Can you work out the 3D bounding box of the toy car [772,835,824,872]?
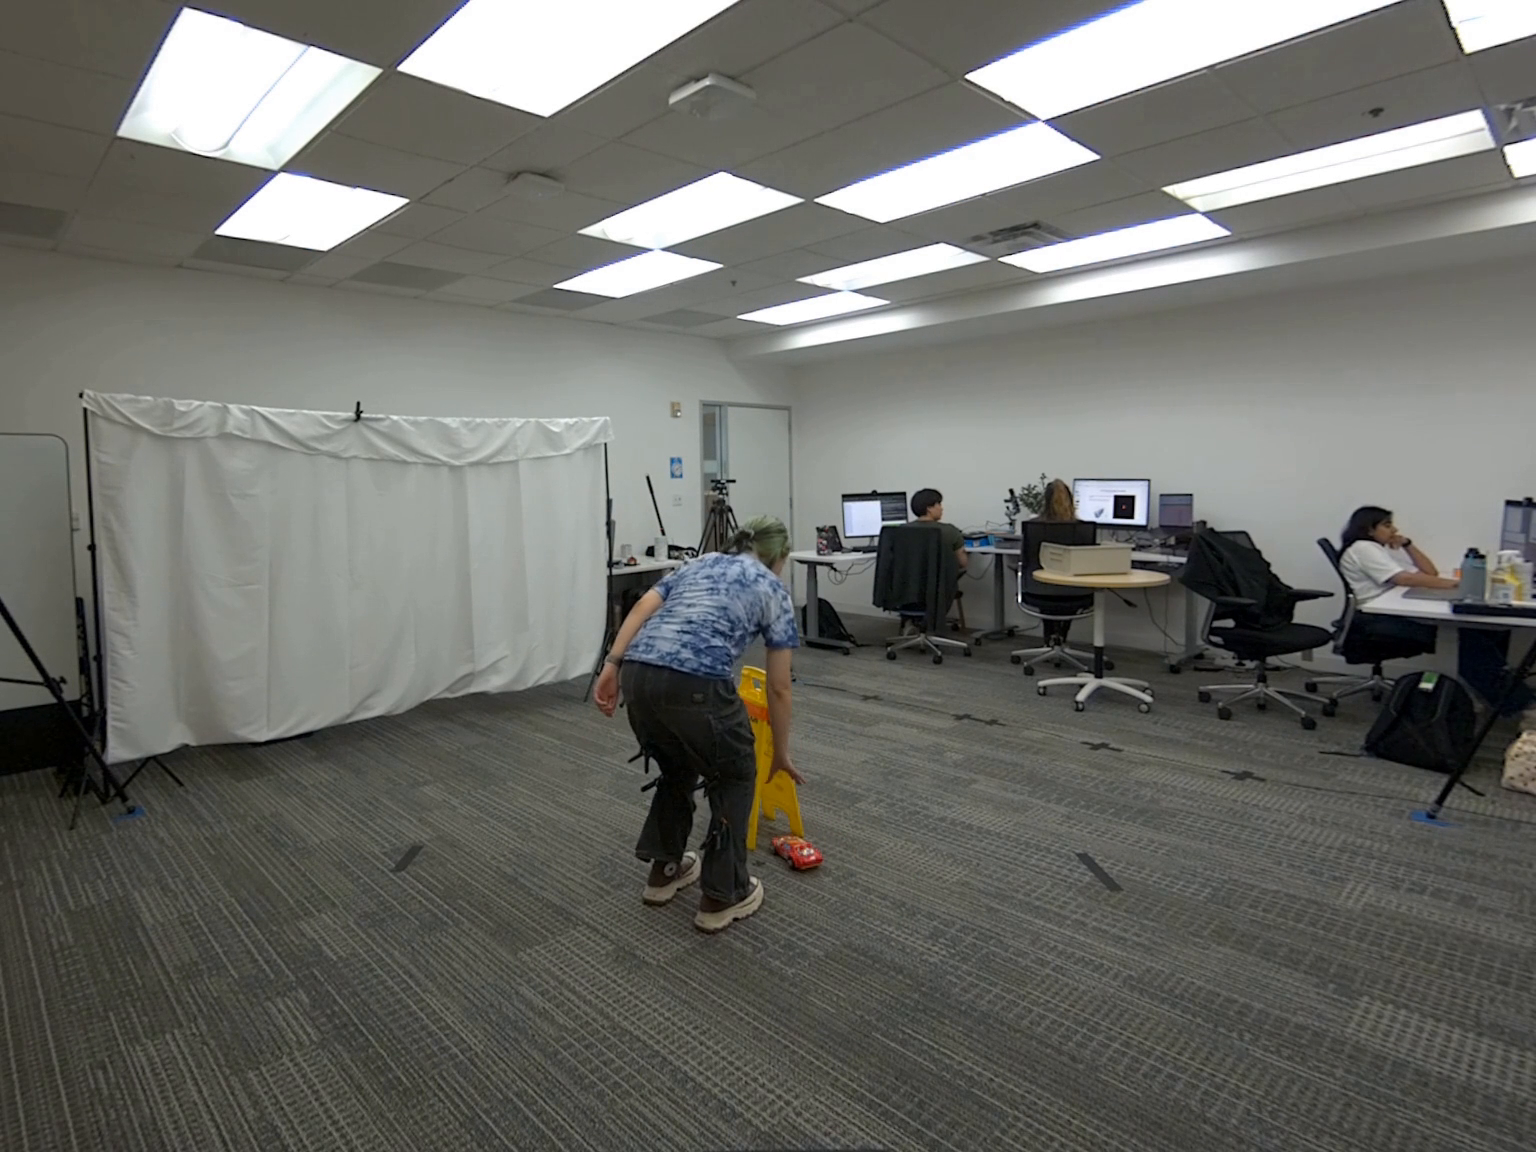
[{"bbox_3d":[0.109,1.015,3.115,0.128,0.084,0.257,-4,-7,-24],"label":"toy car"}]
